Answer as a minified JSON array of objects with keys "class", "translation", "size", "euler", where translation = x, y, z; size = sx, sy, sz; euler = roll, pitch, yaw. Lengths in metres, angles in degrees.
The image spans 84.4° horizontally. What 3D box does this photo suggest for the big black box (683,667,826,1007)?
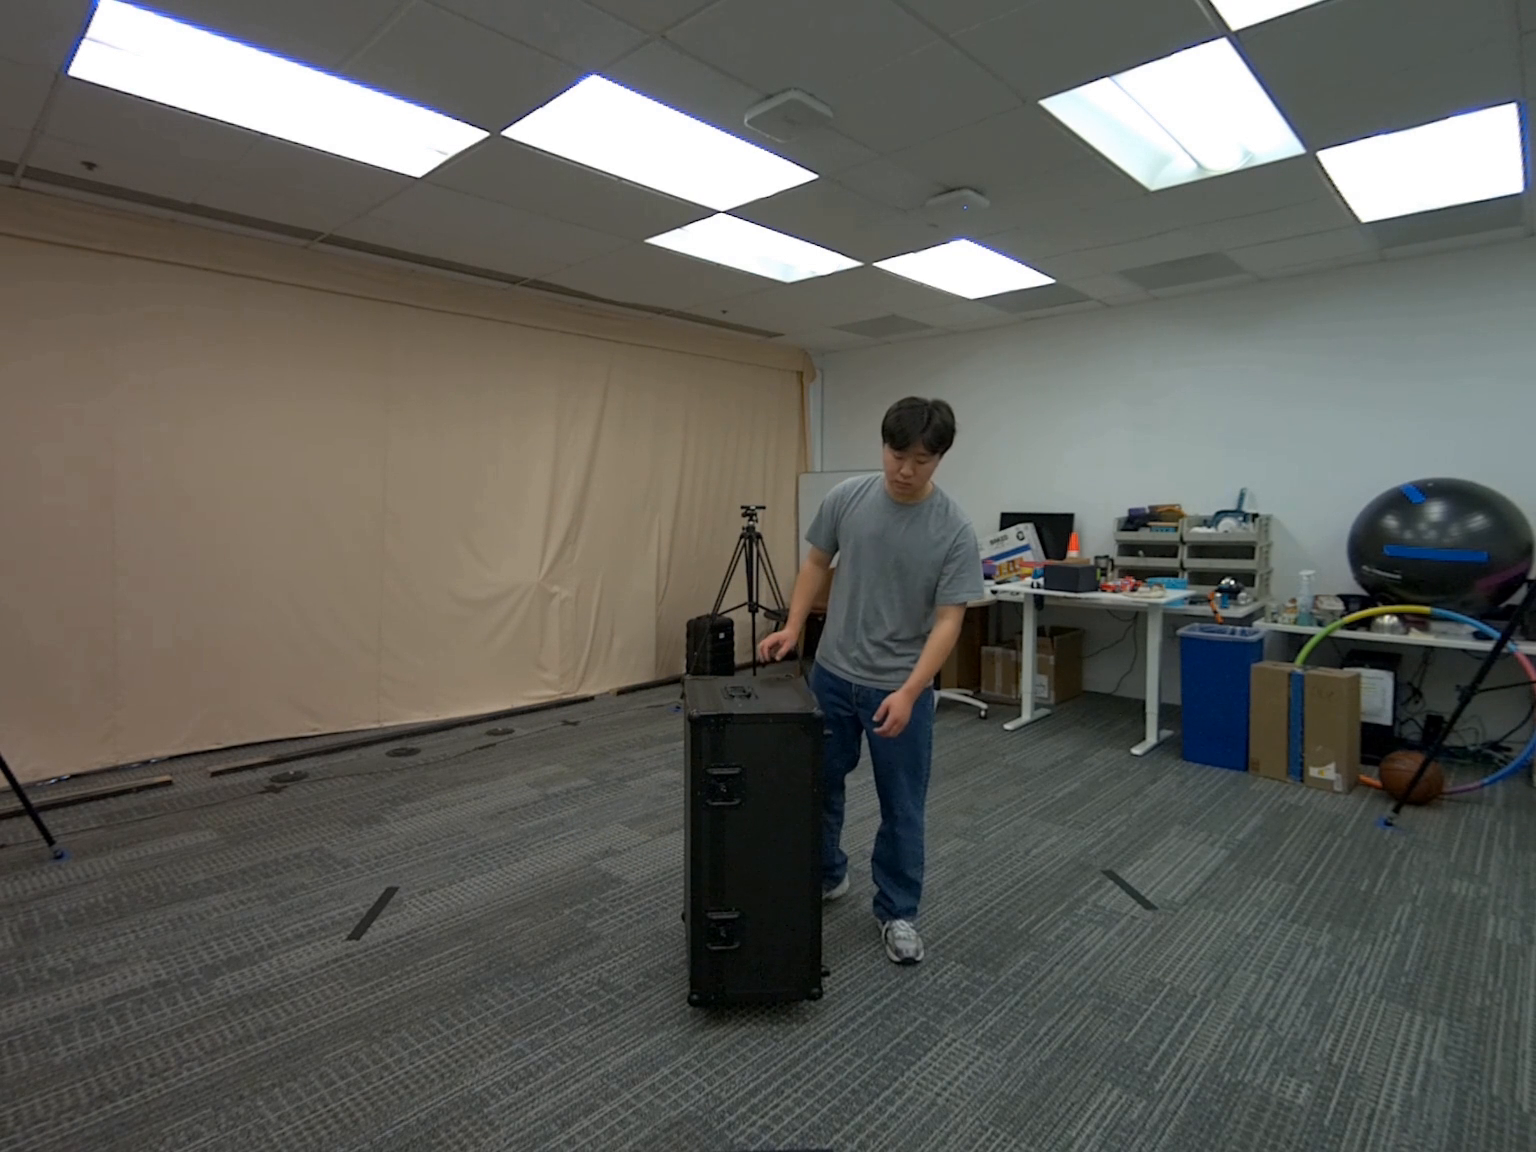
[{"class":"big black box","translation":[-0.055,0.765,2.453],"size":[0.394,0.860,0.525],"euler":[0,2,-7]}]
